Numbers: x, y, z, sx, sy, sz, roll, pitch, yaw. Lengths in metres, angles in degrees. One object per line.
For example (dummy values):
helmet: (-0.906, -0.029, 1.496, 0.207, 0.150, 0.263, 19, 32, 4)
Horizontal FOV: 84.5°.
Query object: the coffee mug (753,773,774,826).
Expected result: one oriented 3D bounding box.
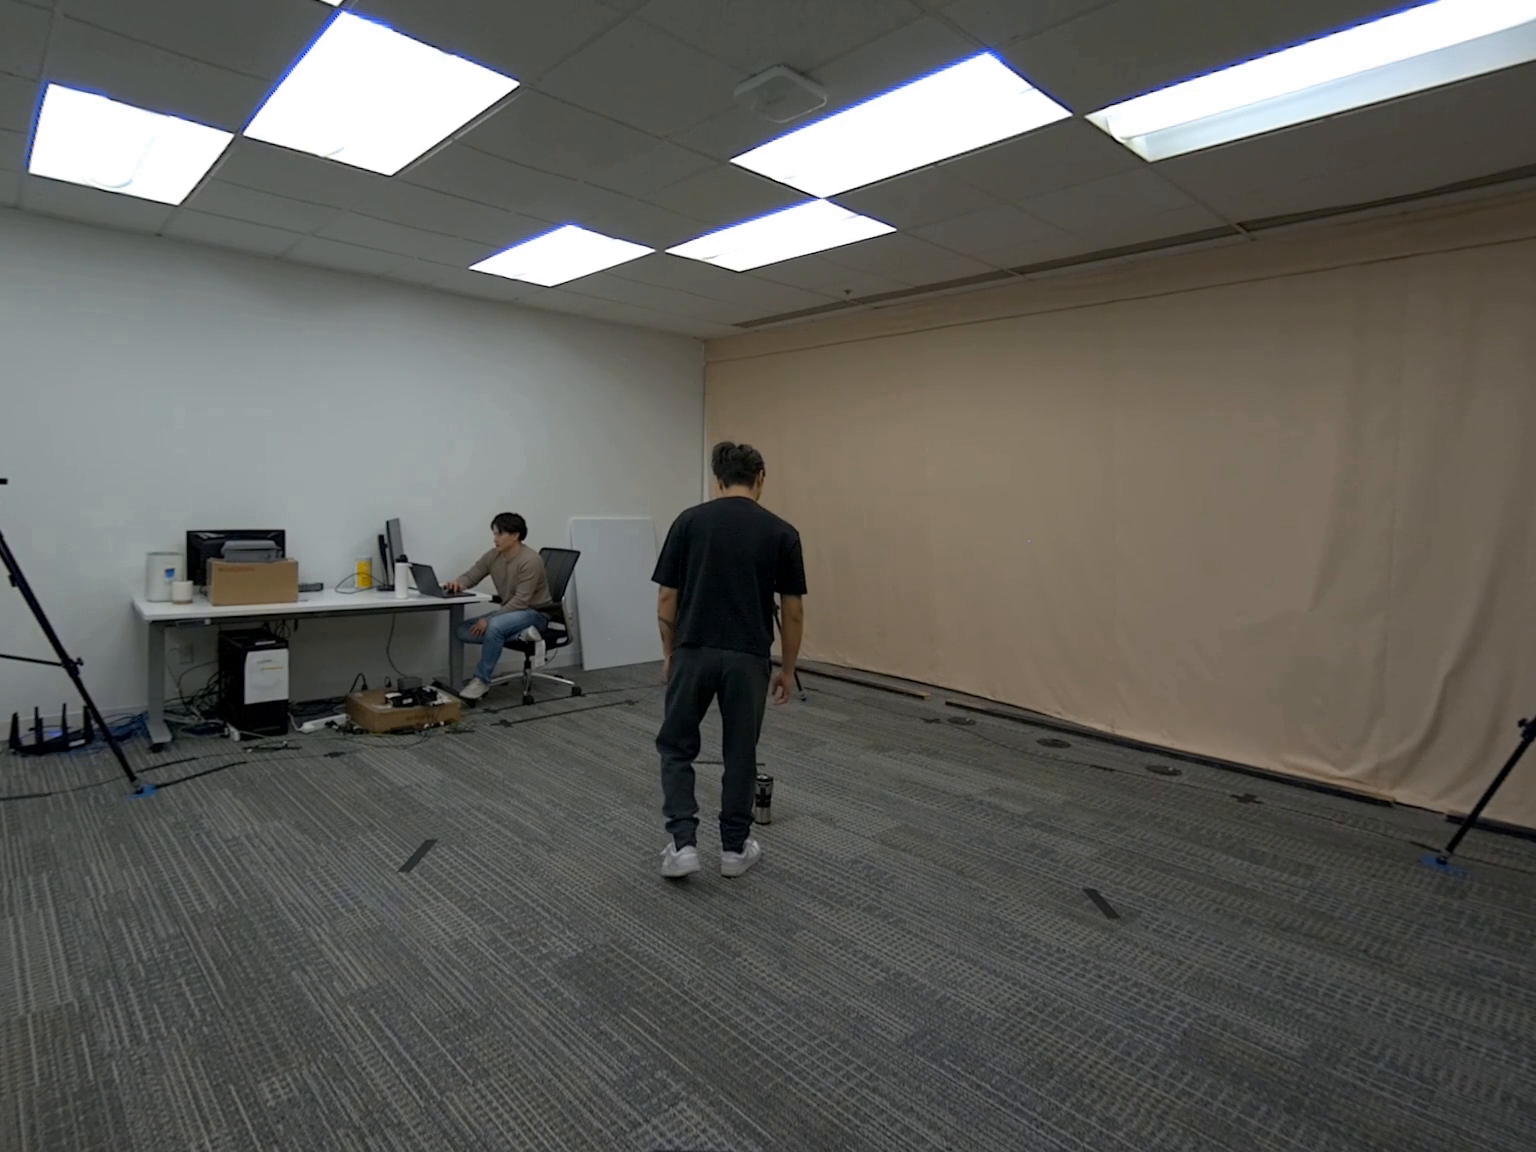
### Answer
coffee mug: (-0.044, 0.967, 3.622, 0.090, 0.203, 0.119, 7, 2, 42)
